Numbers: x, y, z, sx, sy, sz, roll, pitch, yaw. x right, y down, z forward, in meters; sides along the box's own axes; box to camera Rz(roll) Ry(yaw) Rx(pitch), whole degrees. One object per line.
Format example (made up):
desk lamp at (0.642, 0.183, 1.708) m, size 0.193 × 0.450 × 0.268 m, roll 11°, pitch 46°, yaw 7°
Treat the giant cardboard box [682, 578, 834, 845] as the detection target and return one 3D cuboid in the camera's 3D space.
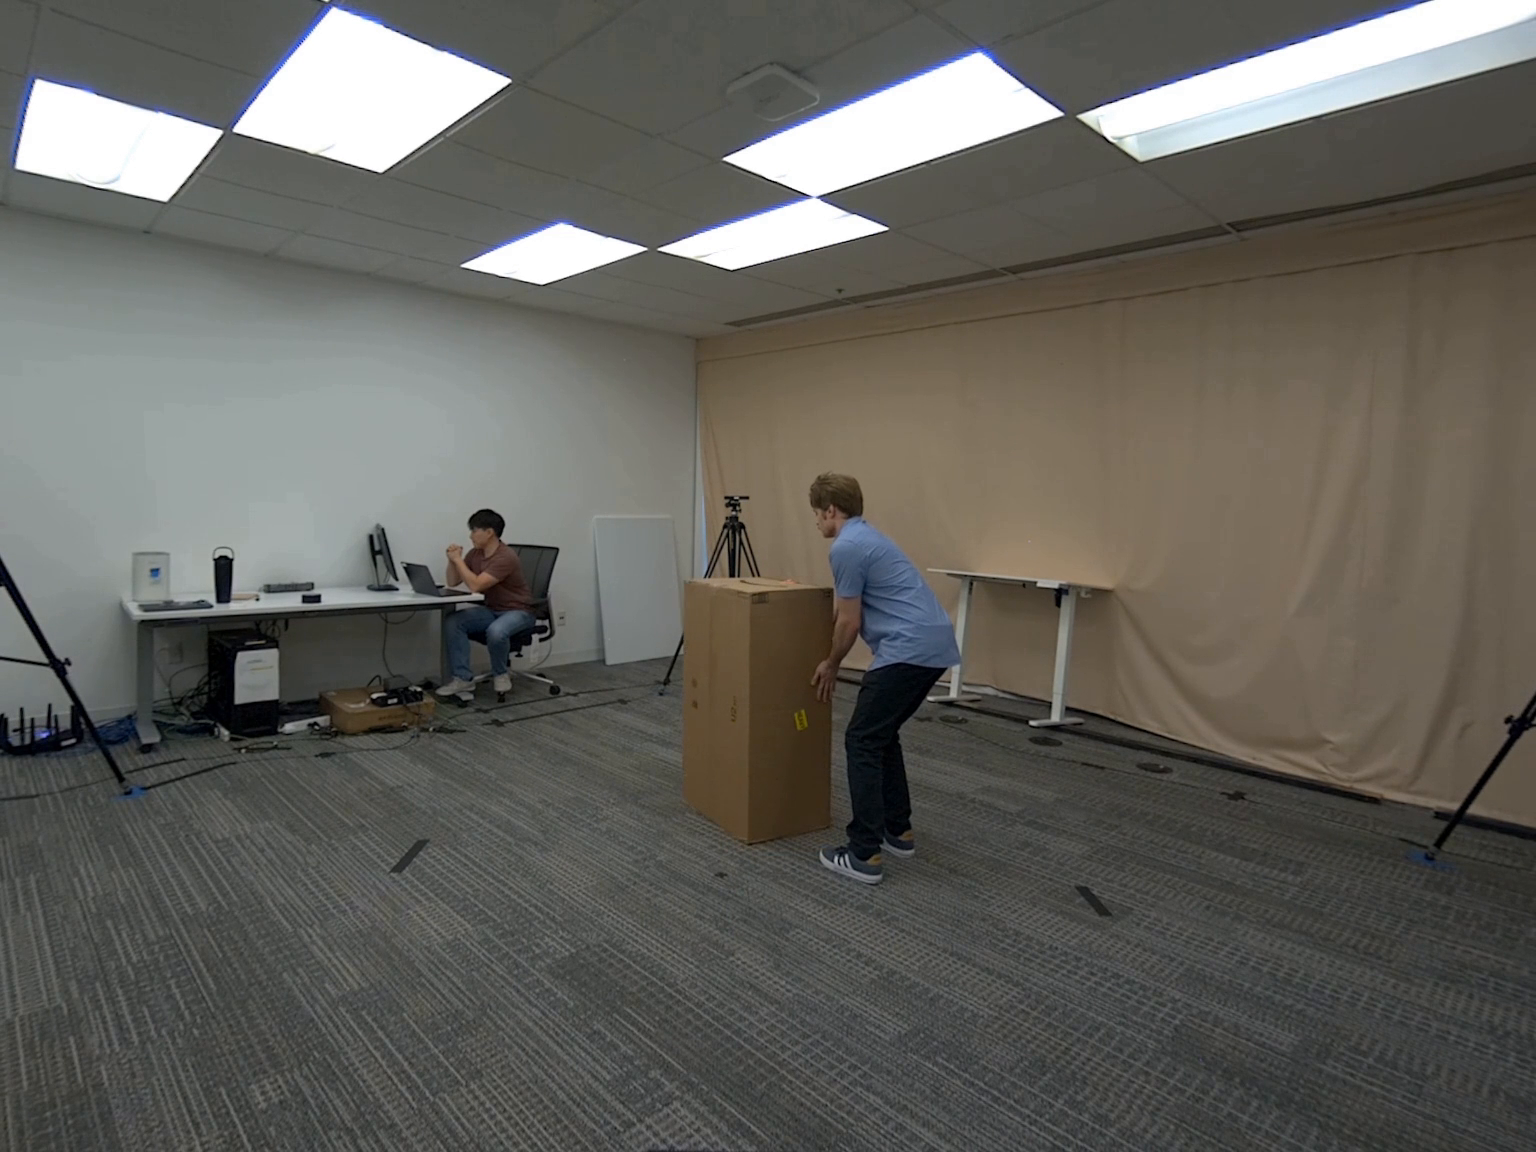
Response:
giant cardboard box at (-0.065, 0.545, 3.709) m, size 0.417 × 1.024 × 0.591 m, roll -1°, pitch 3°, yaw -32°
